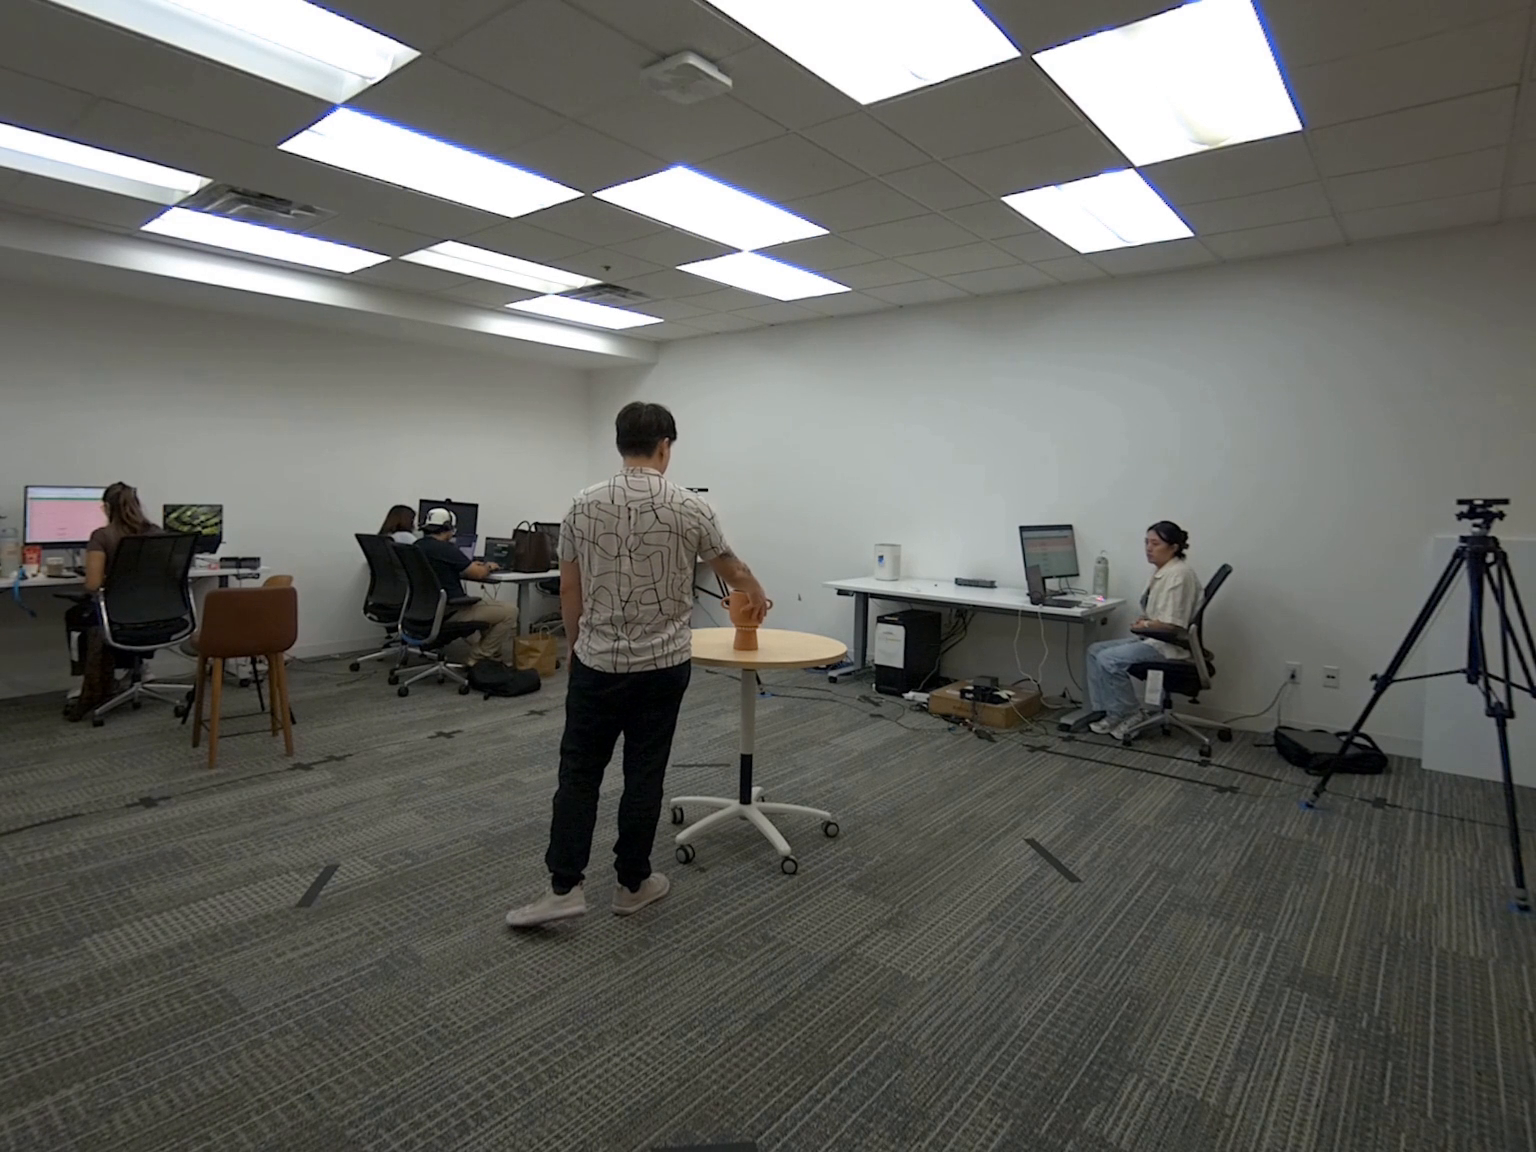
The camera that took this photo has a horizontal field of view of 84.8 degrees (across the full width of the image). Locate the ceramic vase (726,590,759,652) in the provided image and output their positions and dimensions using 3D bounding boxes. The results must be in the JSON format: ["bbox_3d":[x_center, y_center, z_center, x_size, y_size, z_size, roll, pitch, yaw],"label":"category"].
[{"bbox_3d":[-0.092,0.164,3.242,0.164,0.219,0.131,5,7,37],"label":"ceramic vase"}]
